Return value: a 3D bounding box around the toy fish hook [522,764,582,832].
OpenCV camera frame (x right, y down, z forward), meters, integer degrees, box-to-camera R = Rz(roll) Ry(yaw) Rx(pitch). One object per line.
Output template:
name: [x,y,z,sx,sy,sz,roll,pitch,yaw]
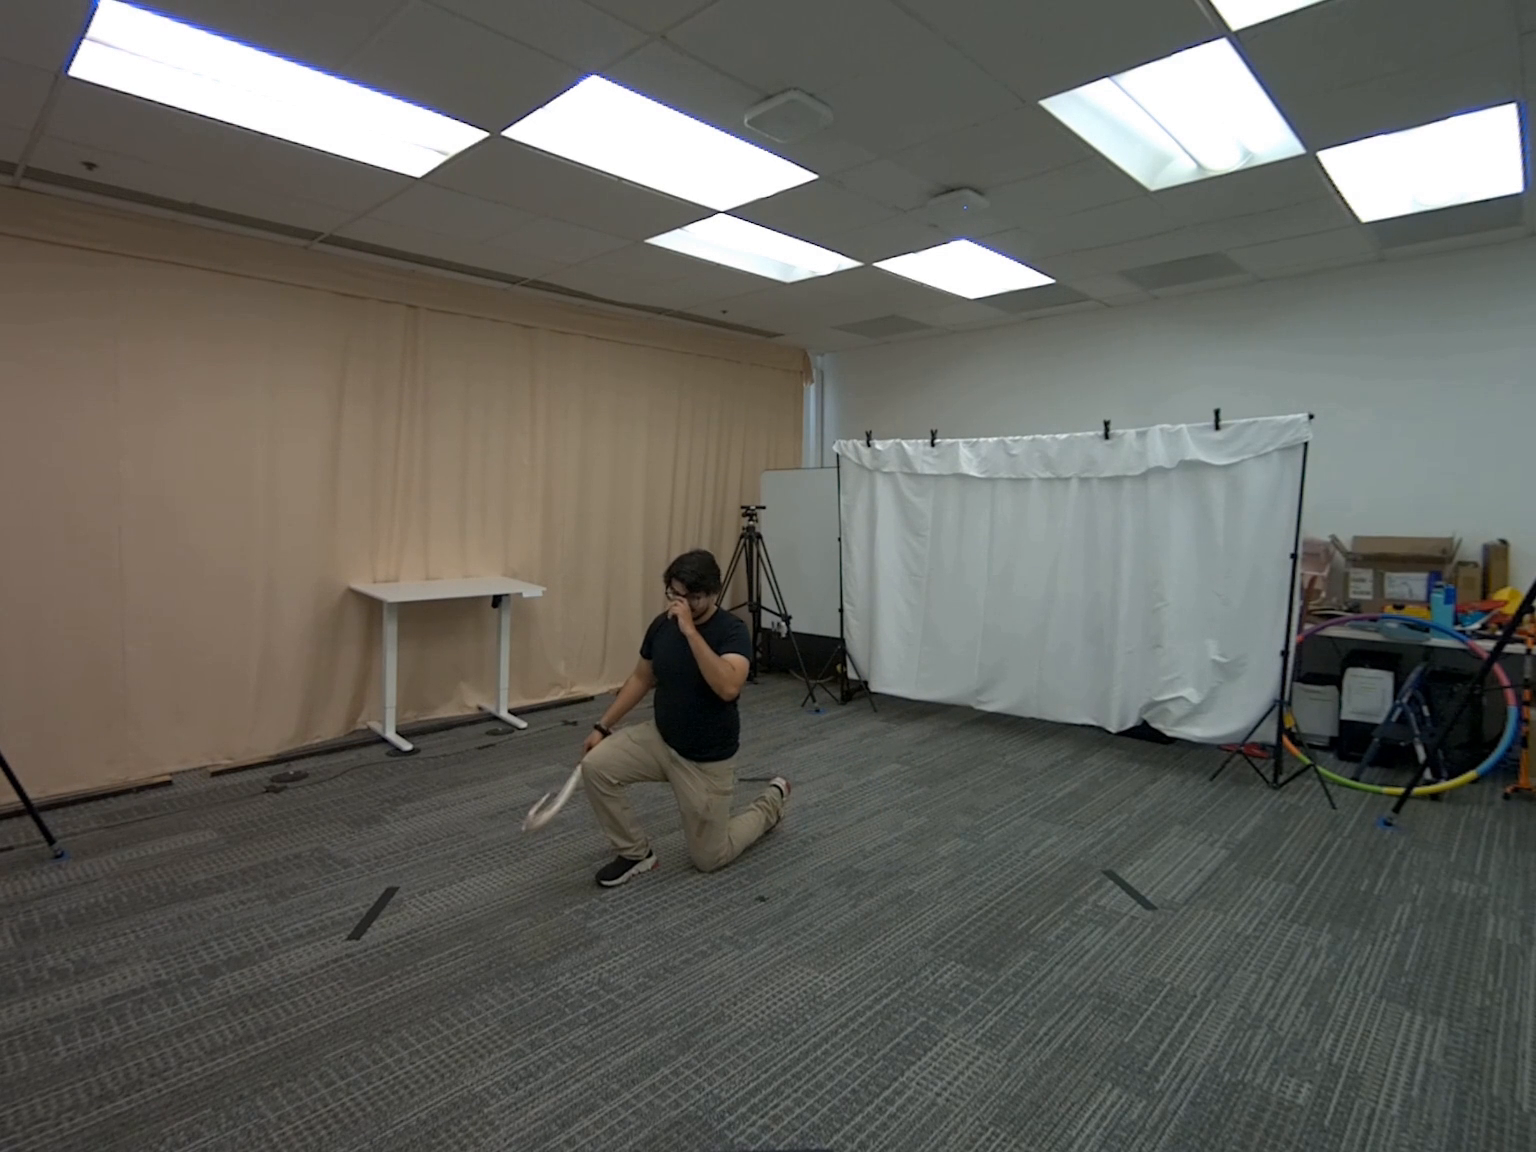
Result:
toy fish hook: [-0.772,0.785,3.279,0.230,0.047,0.503,-20,21,42]
